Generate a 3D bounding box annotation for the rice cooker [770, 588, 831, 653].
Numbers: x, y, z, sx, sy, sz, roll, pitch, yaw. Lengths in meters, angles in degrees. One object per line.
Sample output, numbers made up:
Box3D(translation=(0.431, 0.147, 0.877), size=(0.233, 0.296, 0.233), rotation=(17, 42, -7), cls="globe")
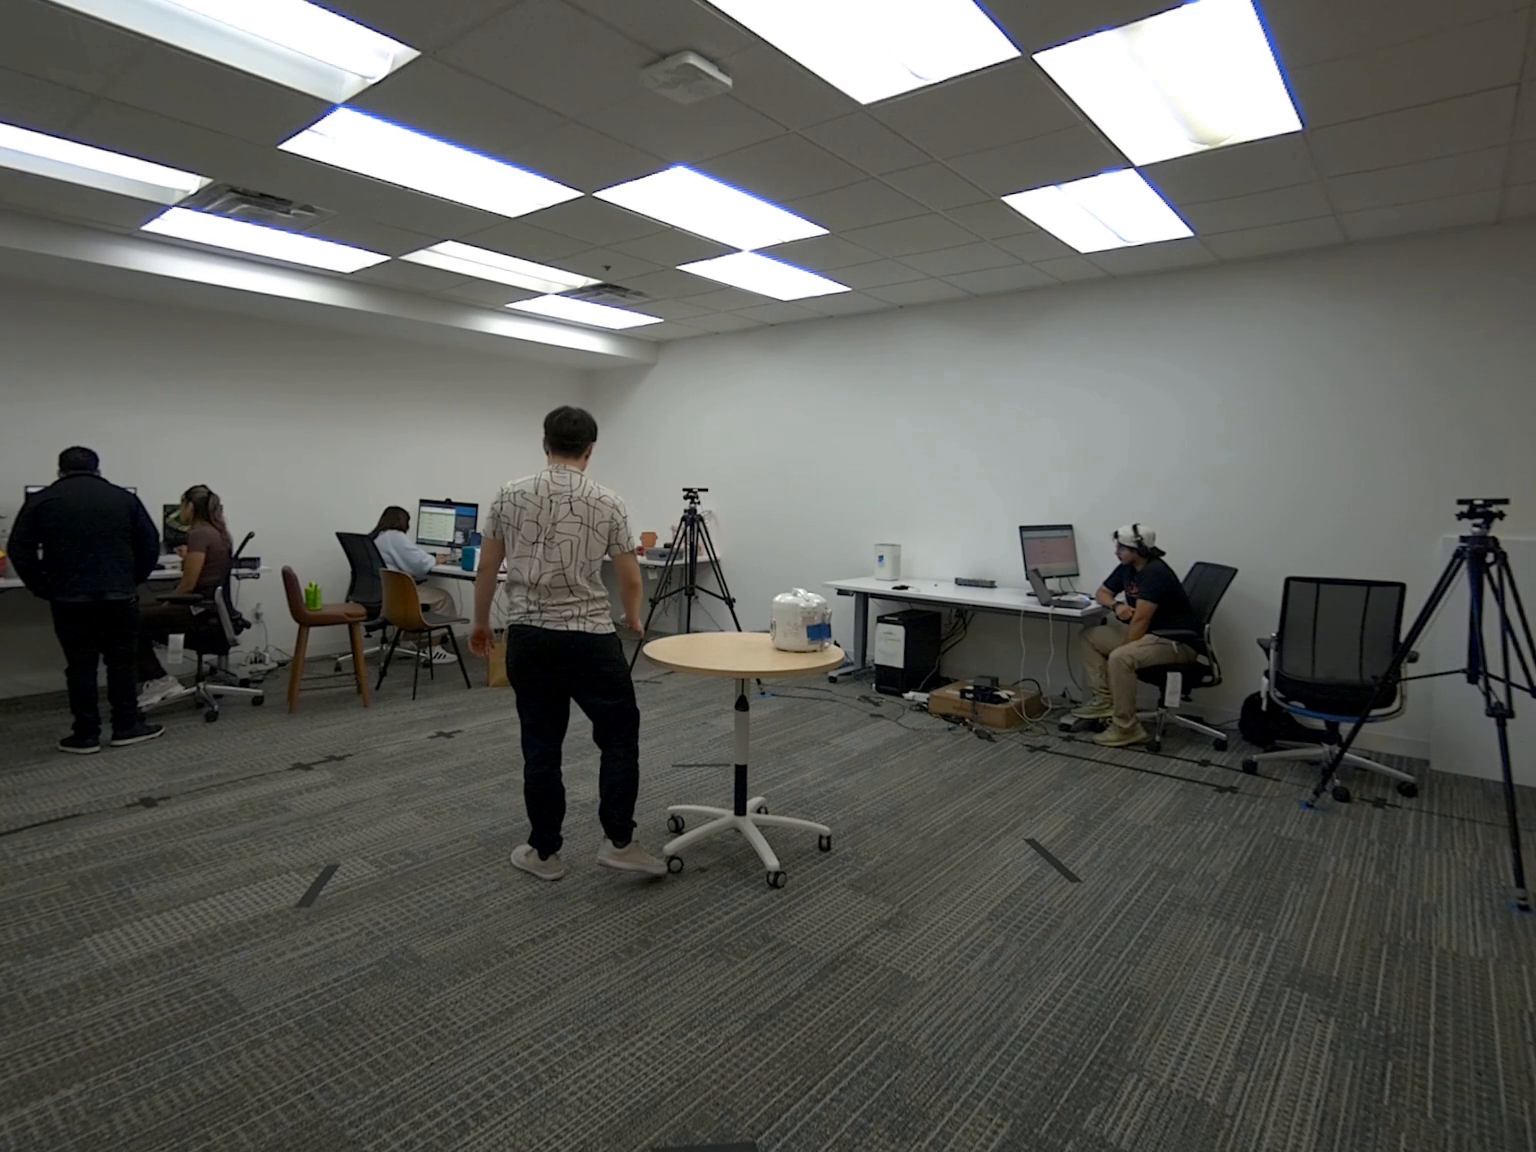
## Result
Box3D(translation=(0.110, 0.163, 3.271), size=(0.214, 0.232, 0.225), rotation=(2, 4, -15), cls="rice cooker")
